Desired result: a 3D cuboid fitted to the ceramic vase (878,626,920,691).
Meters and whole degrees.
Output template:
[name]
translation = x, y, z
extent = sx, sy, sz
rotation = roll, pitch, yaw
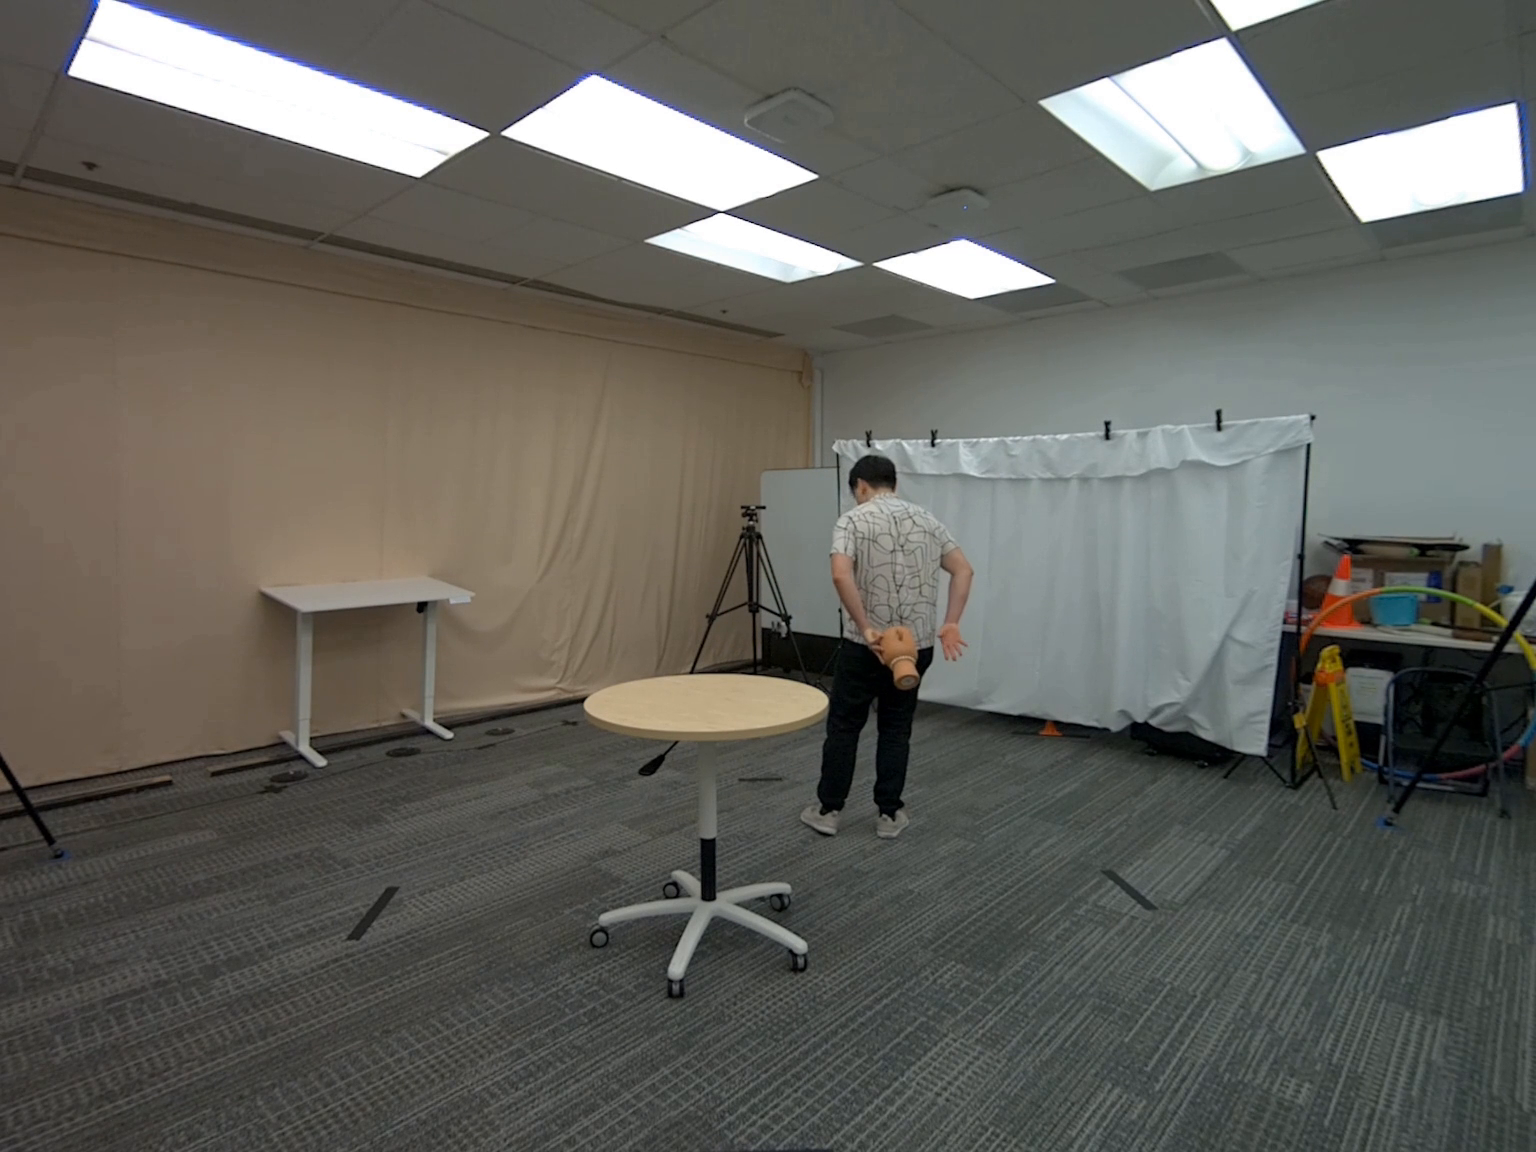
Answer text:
[ceramic vase]
translation = 0.517, 0.320, 3.259
extent = 0.136, 0.224, 0.153
rotation = -31, -49, 23
